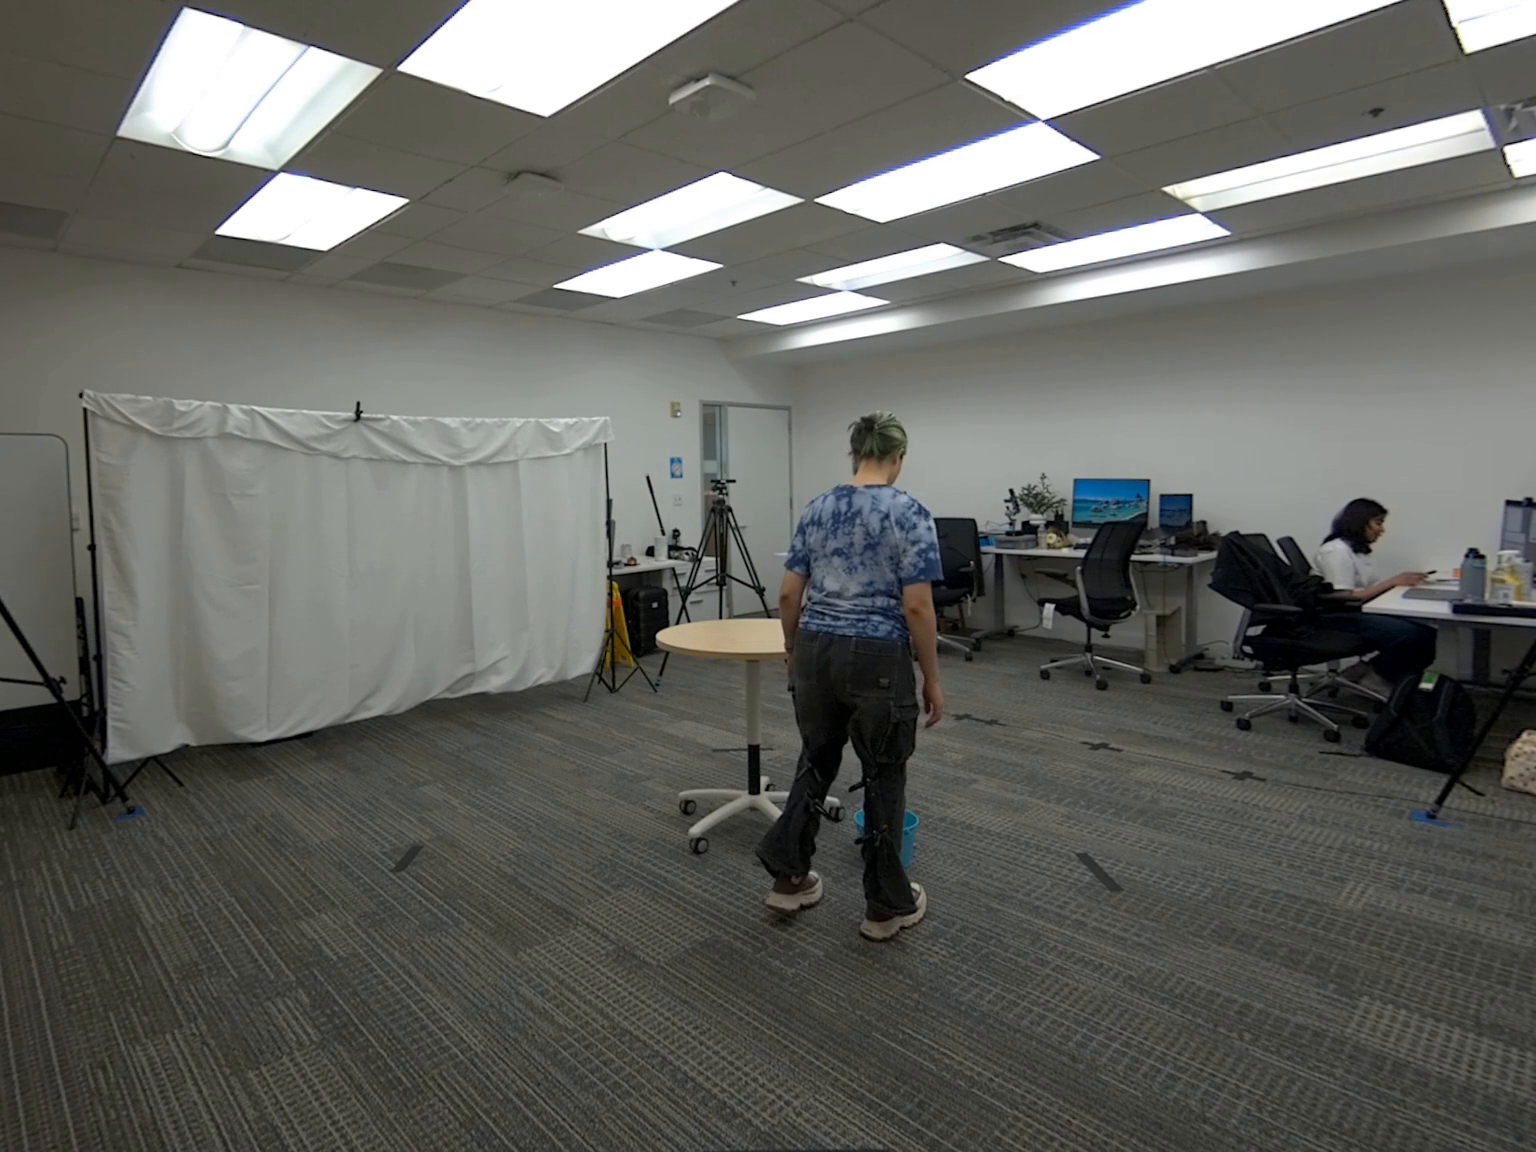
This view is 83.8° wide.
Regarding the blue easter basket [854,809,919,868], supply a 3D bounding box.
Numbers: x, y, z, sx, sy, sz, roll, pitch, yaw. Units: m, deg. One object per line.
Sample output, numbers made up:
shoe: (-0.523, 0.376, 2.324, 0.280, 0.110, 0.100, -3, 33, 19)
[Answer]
blue easter basket: (0.443, 0.958, 3.119, 0.243, 0.155, 0.245, -2, 6, -2)
